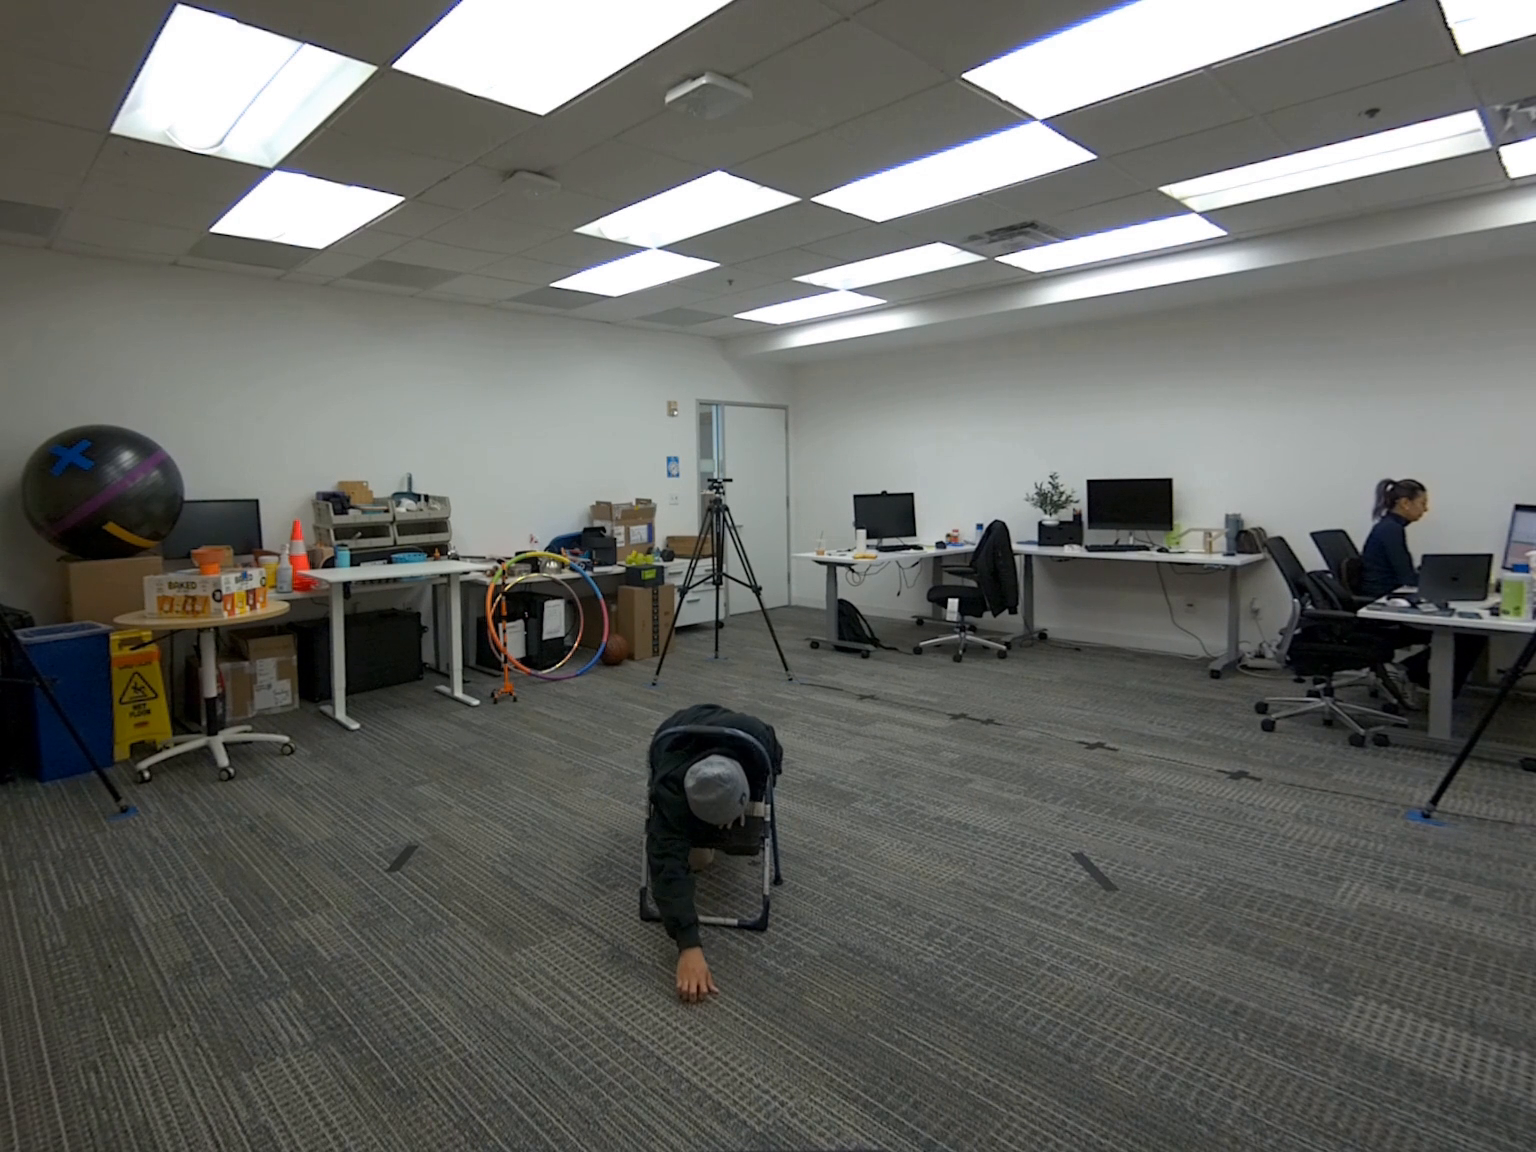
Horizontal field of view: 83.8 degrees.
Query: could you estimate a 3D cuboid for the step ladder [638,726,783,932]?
[{"bbox_3d":[-0.182,0.780,2.821,0.434,0.604,0.347,-1,4,8],"label":"step ladder"}]
